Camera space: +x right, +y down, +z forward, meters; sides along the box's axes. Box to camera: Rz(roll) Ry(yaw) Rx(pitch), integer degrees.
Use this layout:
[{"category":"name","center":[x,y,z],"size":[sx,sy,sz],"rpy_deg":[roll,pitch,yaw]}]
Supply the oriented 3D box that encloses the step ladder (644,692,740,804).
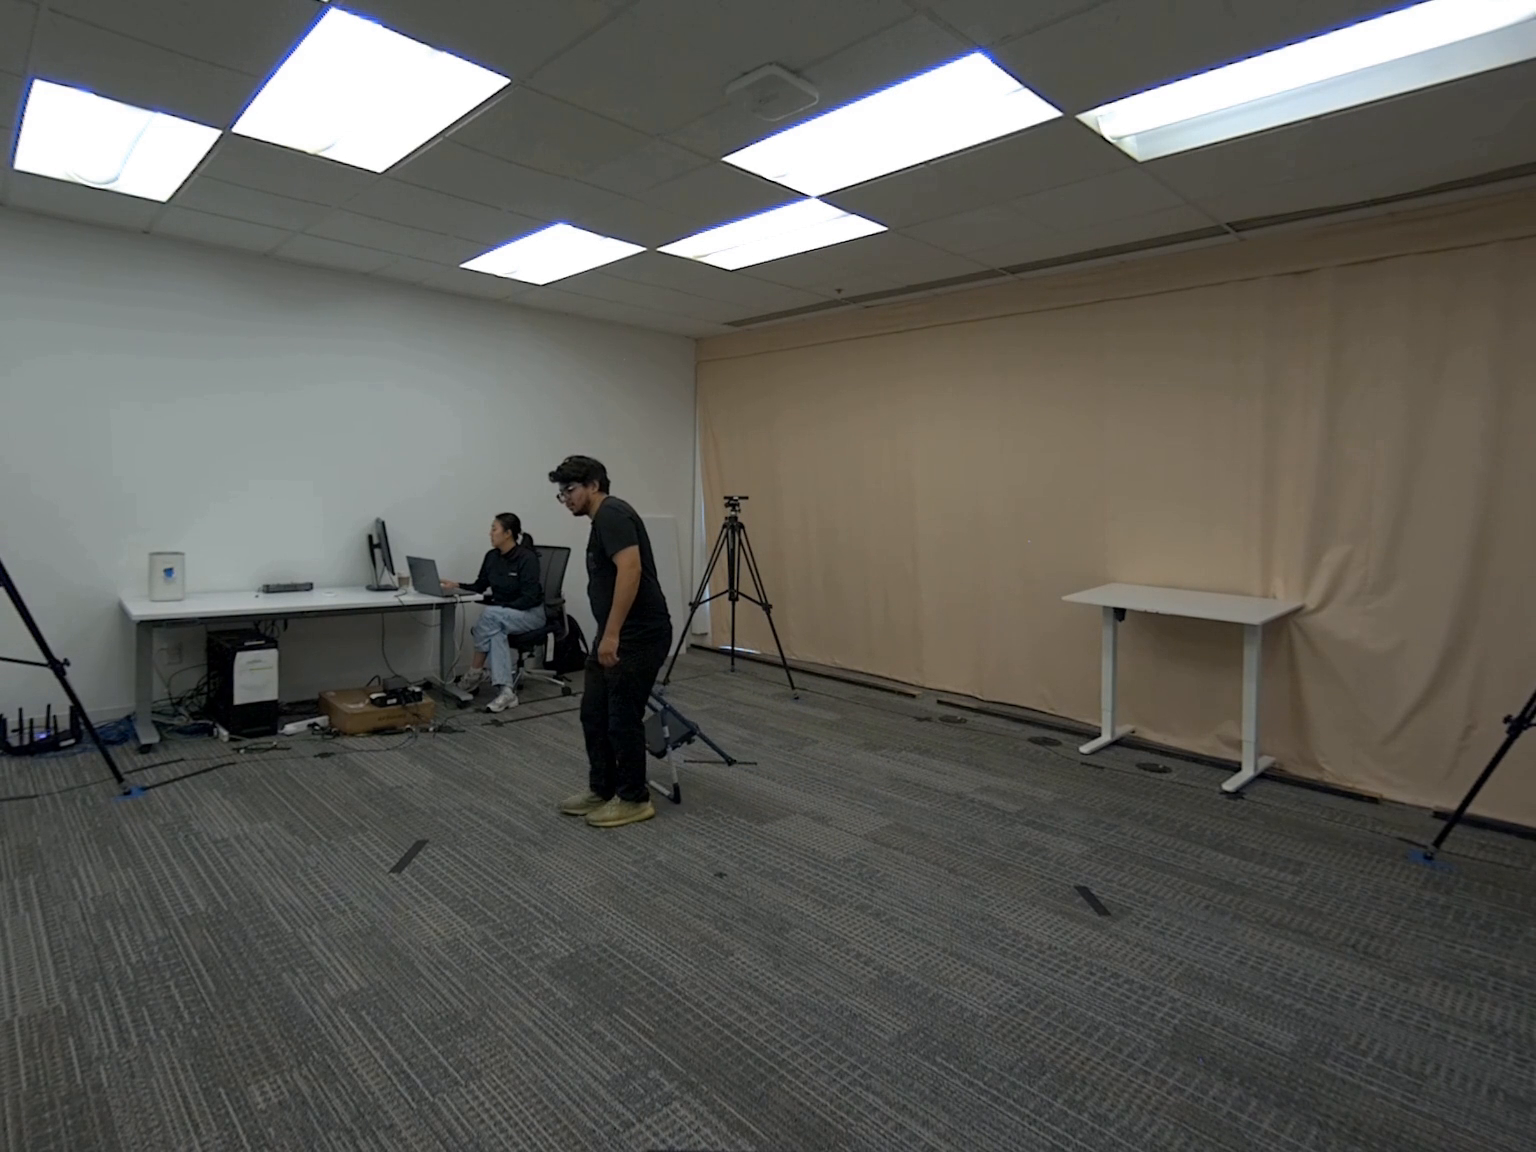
[{"category":"step ladder","center":[-0.505,0.677,3.984],"size":[0.347,0.596,0.440],"rpy_deg":[-32,19,-27]}]
